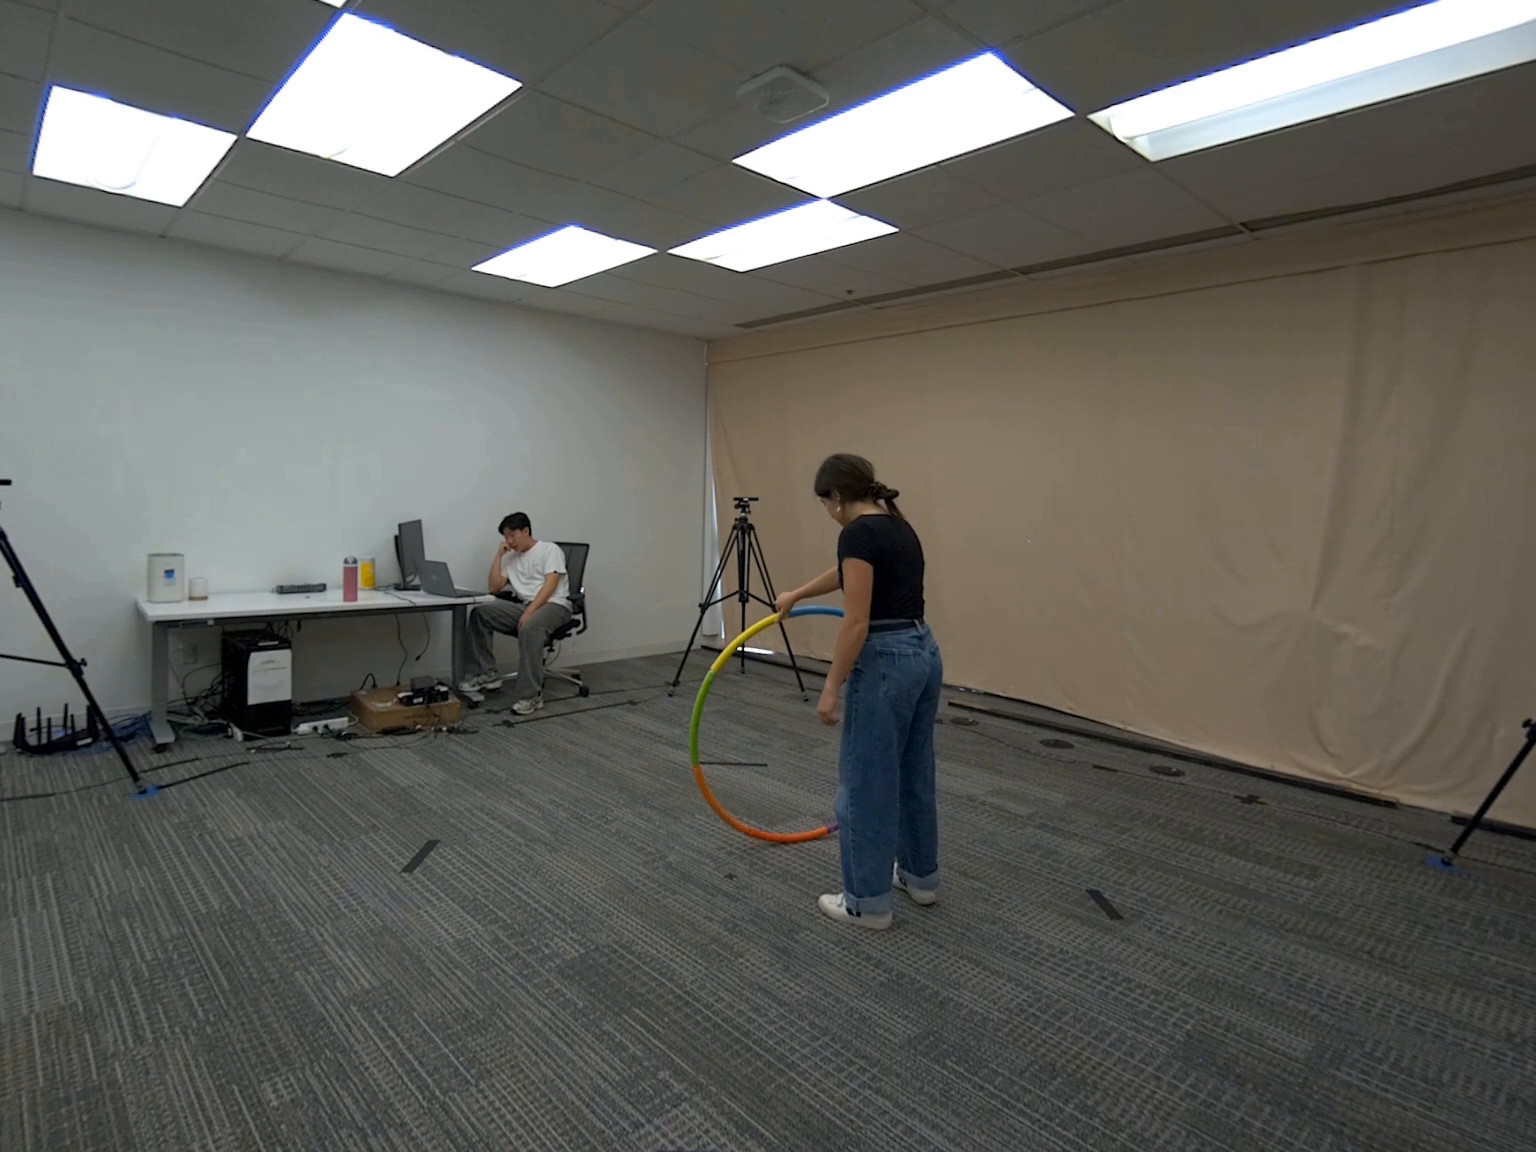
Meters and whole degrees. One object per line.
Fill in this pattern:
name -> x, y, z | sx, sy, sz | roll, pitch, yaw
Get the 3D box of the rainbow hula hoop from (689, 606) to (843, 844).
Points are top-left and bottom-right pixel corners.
rainbow hula hoop -> 0.150, 0.608, 3.381 | 0.963, 0.973, 0.036 | 0, 8, -21
